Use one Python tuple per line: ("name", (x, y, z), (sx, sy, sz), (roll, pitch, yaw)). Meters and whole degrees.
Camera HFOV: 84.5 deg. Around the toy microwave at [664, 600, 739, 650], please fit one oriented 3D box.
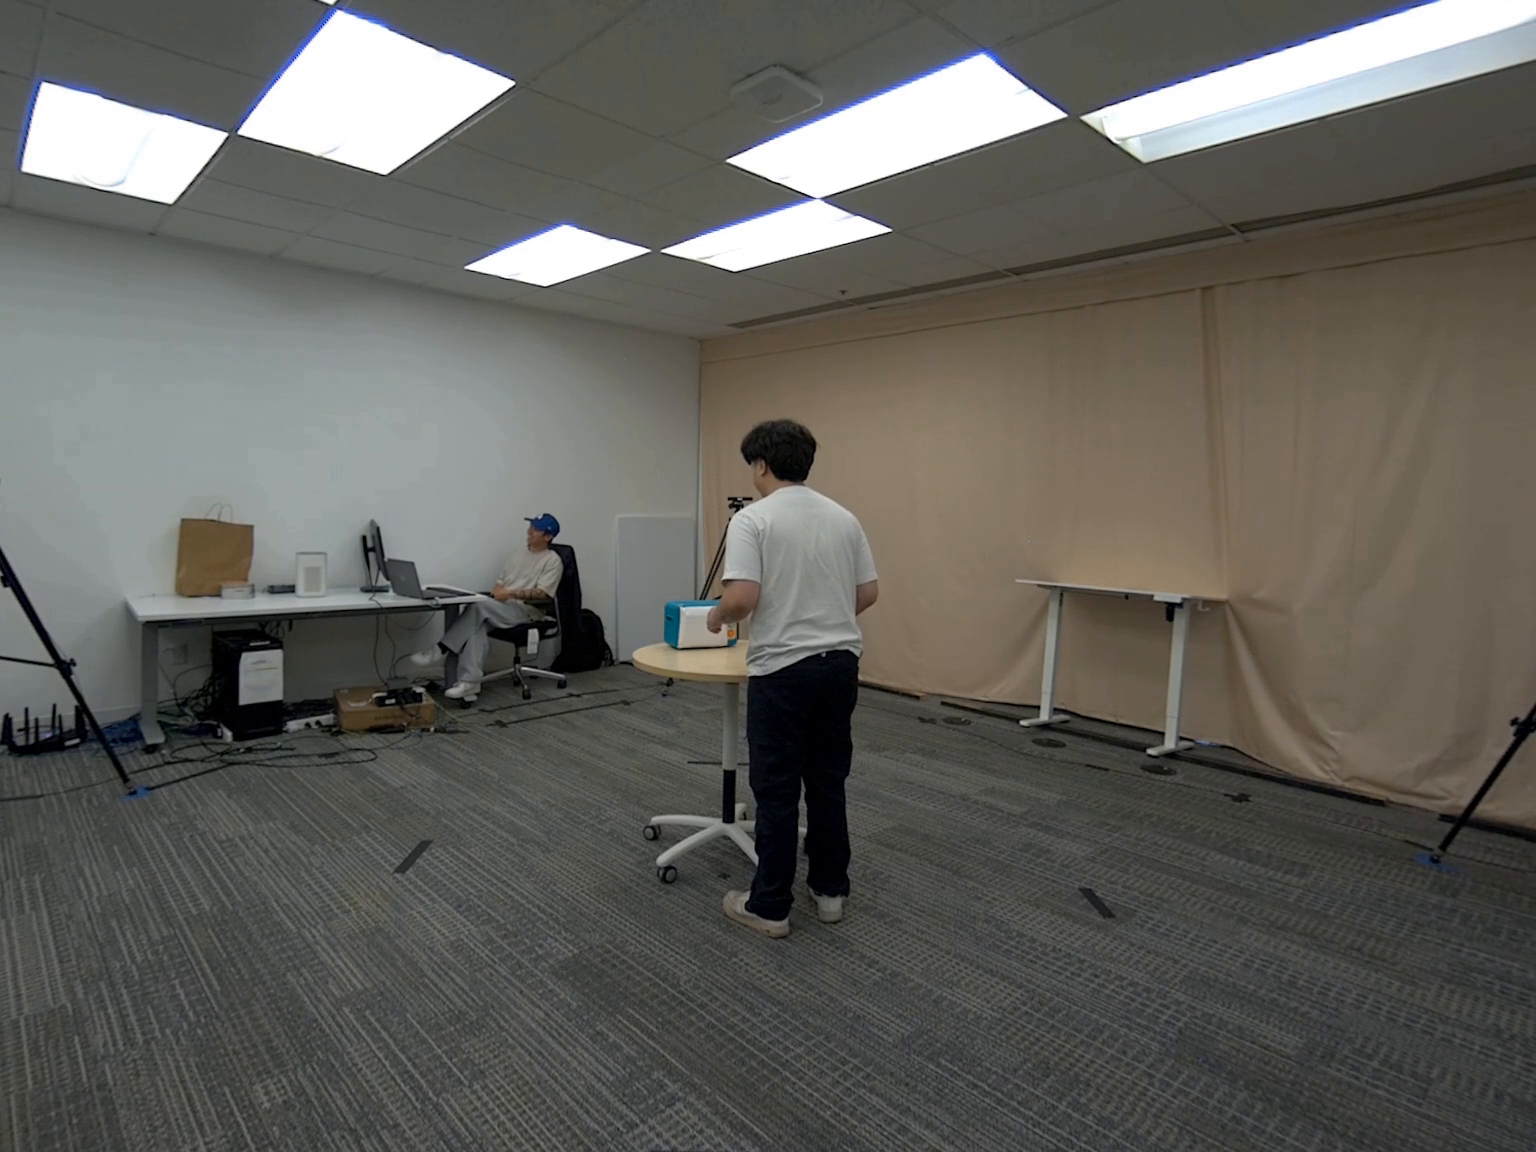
("toy microwave", (-0.274, 0.194, 3.412), (0.281, 0.184, 0.155), (0, 4, -27))
